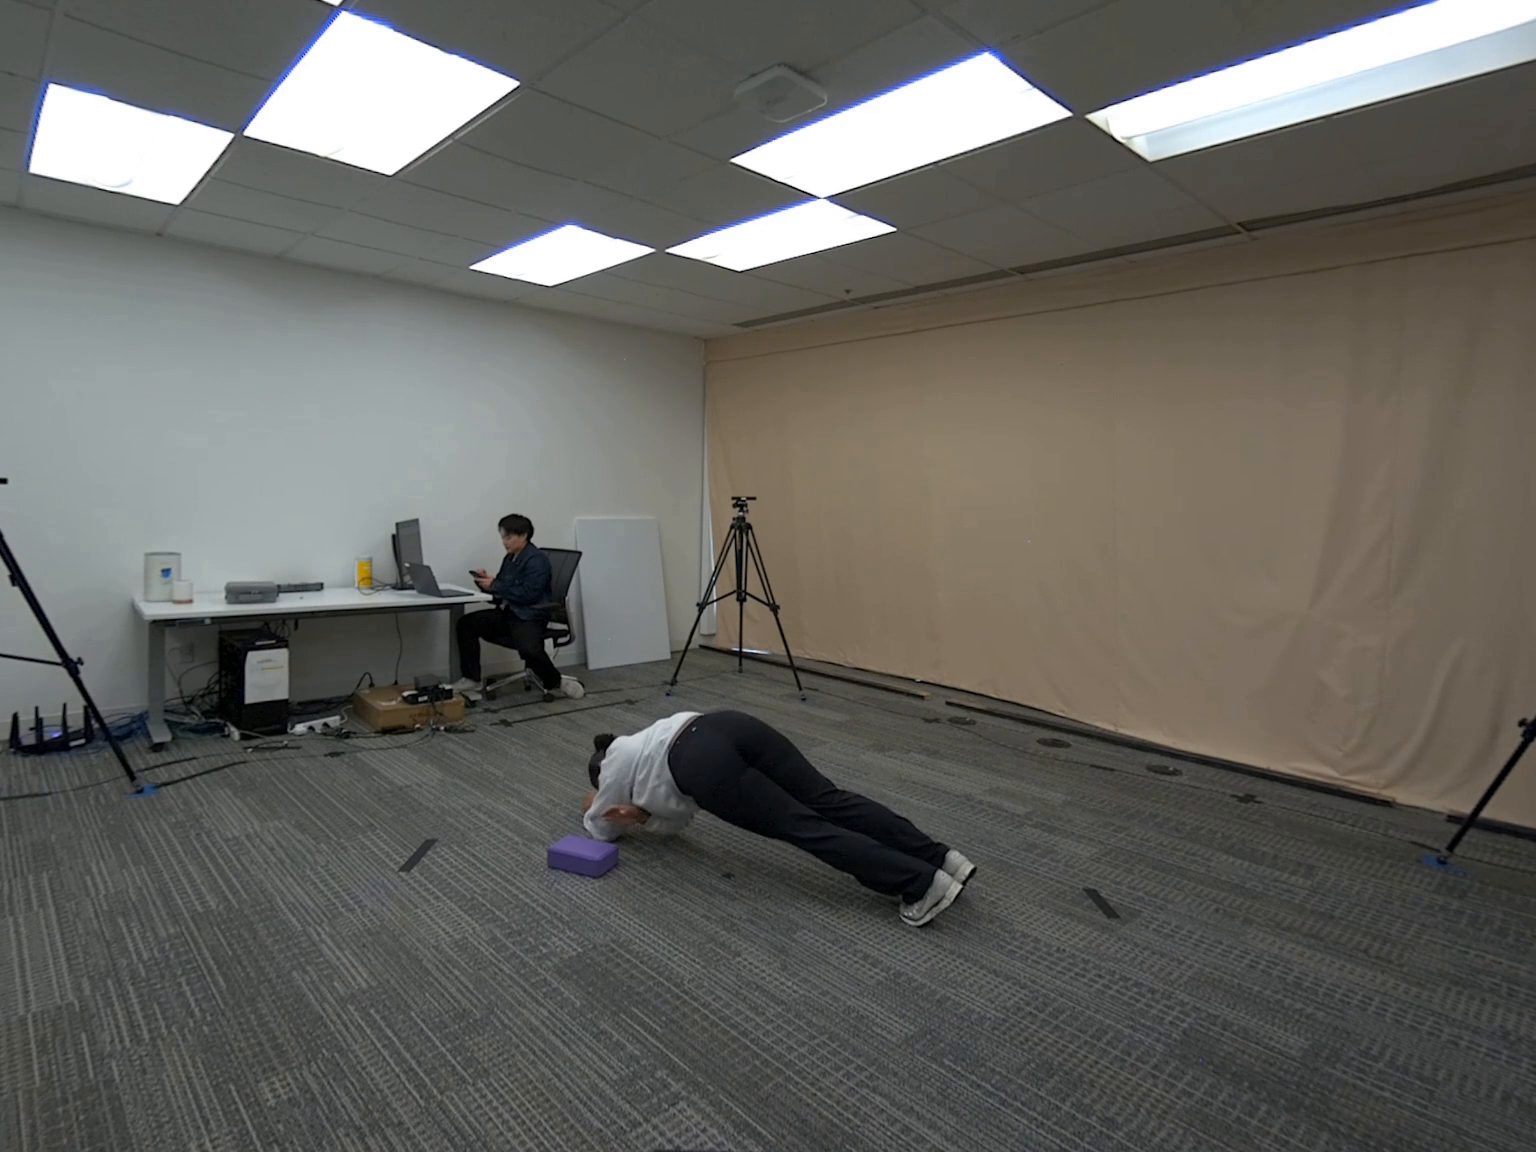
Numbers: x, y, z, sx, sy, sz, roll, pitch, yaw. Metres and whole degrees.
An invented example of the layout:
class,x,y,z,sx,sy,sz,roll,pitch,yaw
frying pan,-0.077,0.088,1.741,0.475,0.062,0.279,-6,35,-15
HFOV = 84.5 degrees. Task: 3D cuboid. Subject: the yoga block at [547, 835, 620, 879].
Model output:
class,x,y,z,sx,sy,sz,roll,pitch,yaw
yoga block,-0.700,1.045,3.160,0.233,0.076,0.147,4,6,22
